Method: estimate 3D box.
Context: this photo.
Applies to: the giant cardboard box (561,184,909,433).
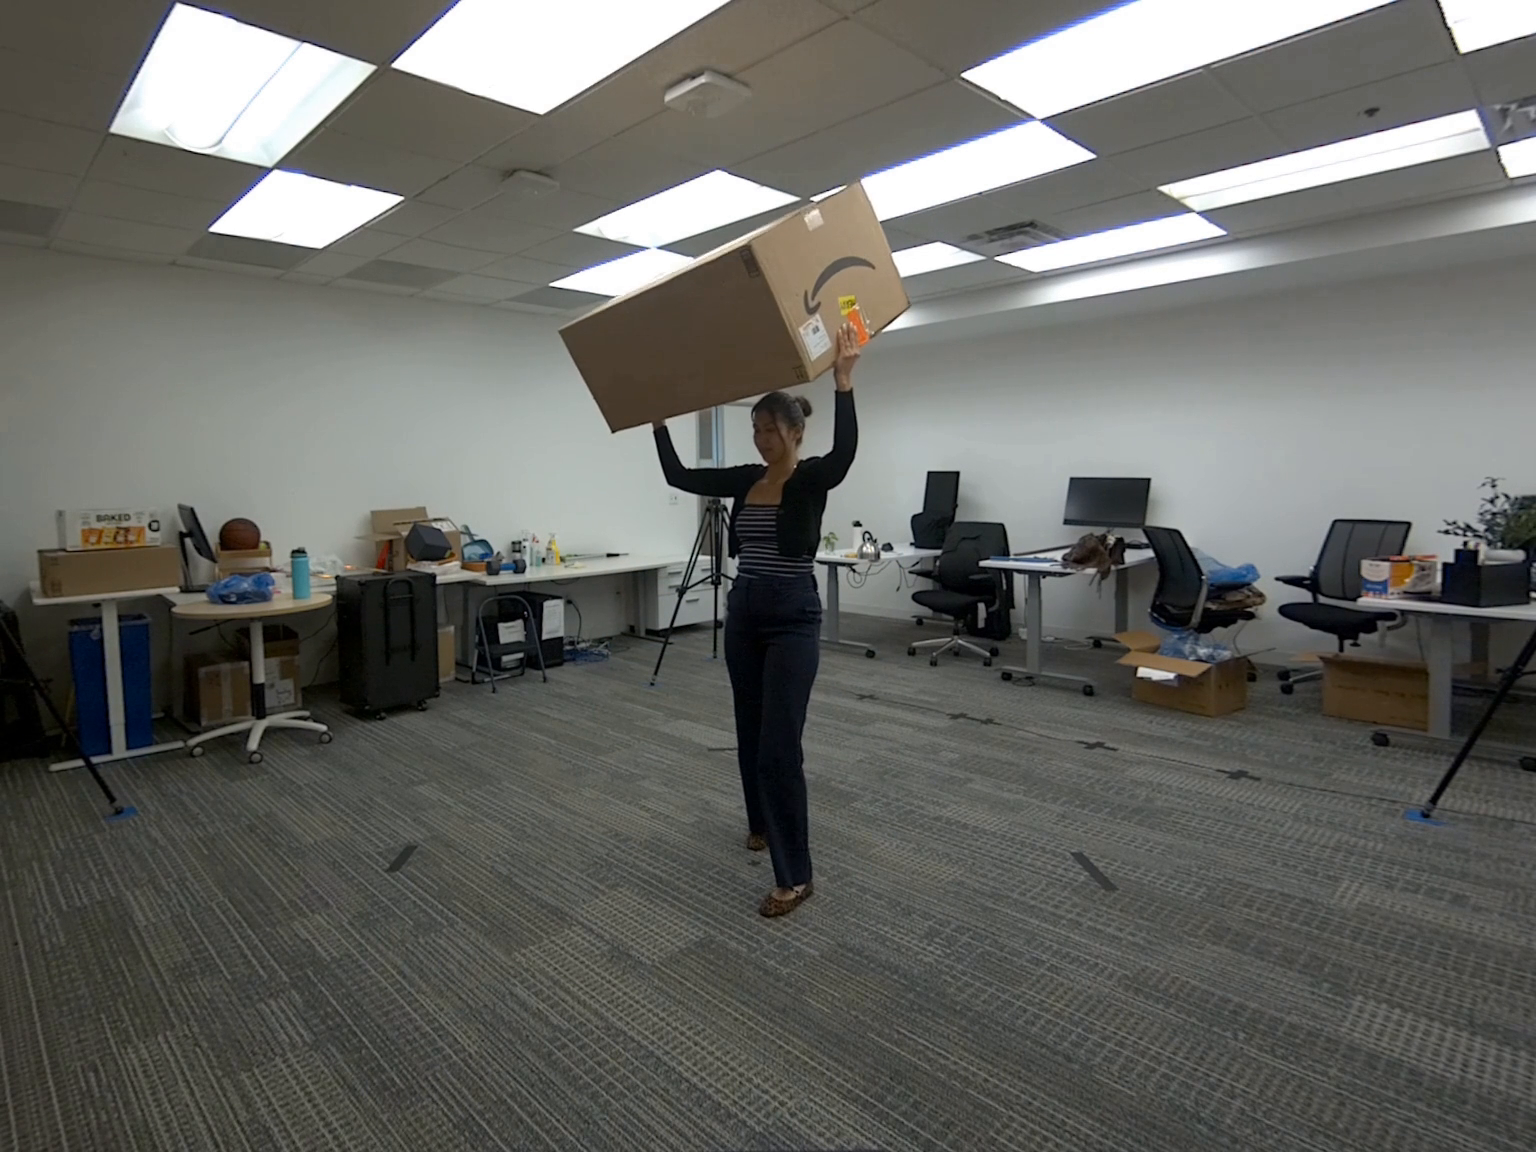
[{"bbox_3d":[-0.143,-0.866,2.909,1.054,0.416,0.575,-2,32,48],"label":"giant cardboard box"}]
